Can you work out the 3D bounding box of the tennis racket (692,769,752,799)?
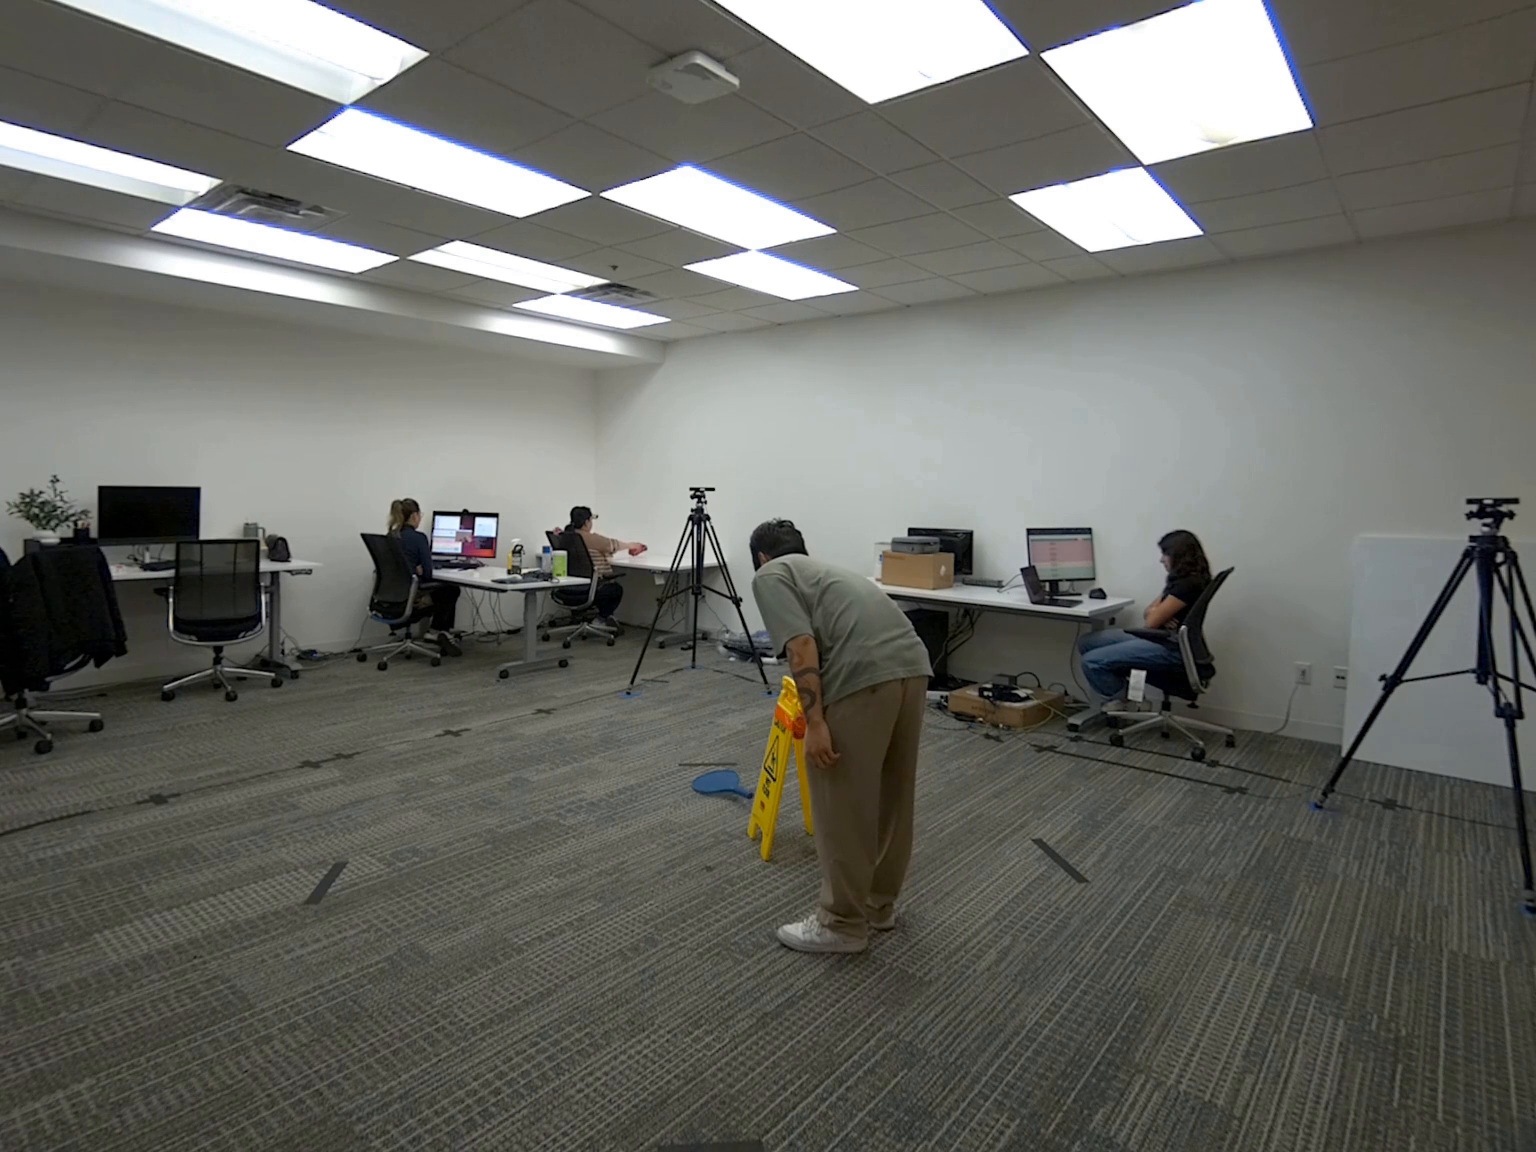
[{"bbox_3d":[-0.201,0.956,3.880,0.209,0.031,0.446,-15,10,-34],"label":"tennis racket"}]
